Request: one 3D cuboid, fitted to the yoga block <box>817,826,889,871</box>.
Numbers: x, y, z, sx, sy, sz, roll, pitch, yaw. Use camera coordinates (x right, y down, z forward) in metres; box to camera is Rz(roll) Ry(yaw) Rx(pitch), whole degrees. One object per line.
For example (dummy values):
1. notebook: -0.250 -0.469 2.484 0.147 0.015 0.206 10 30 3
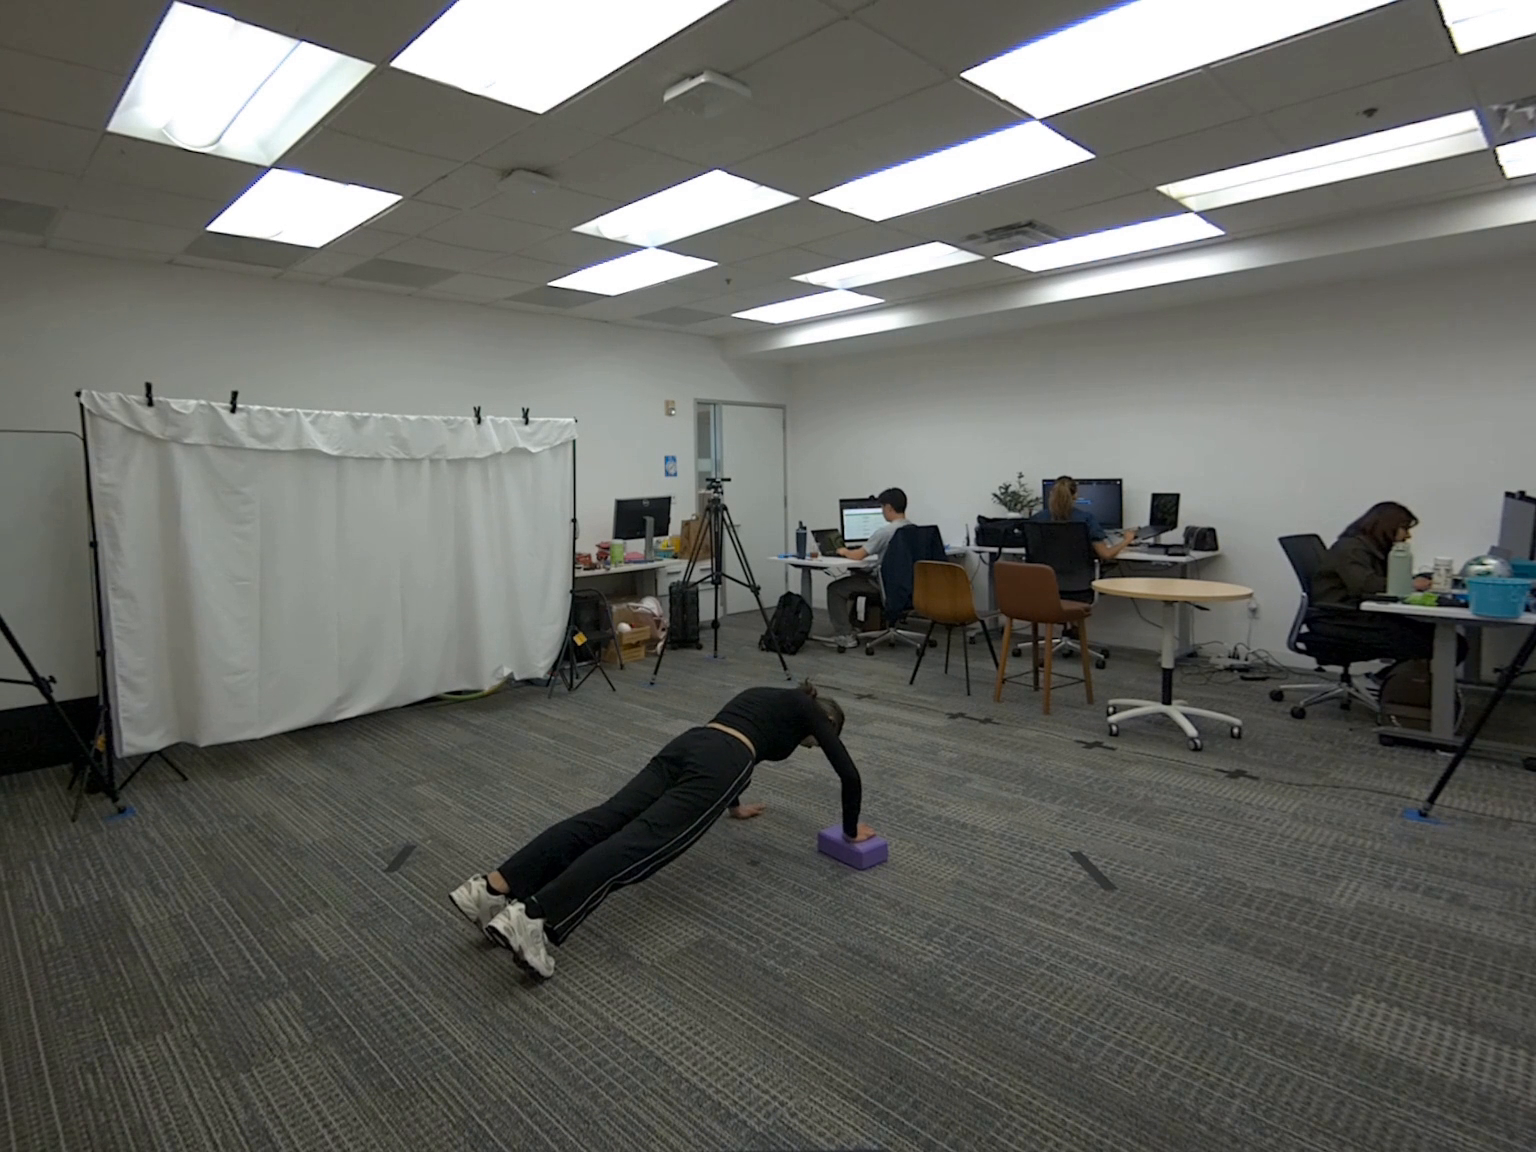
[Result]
1. yoga block: 0.312 0.995 3.152 0.145 0.076 0.236 -5 9 -38
